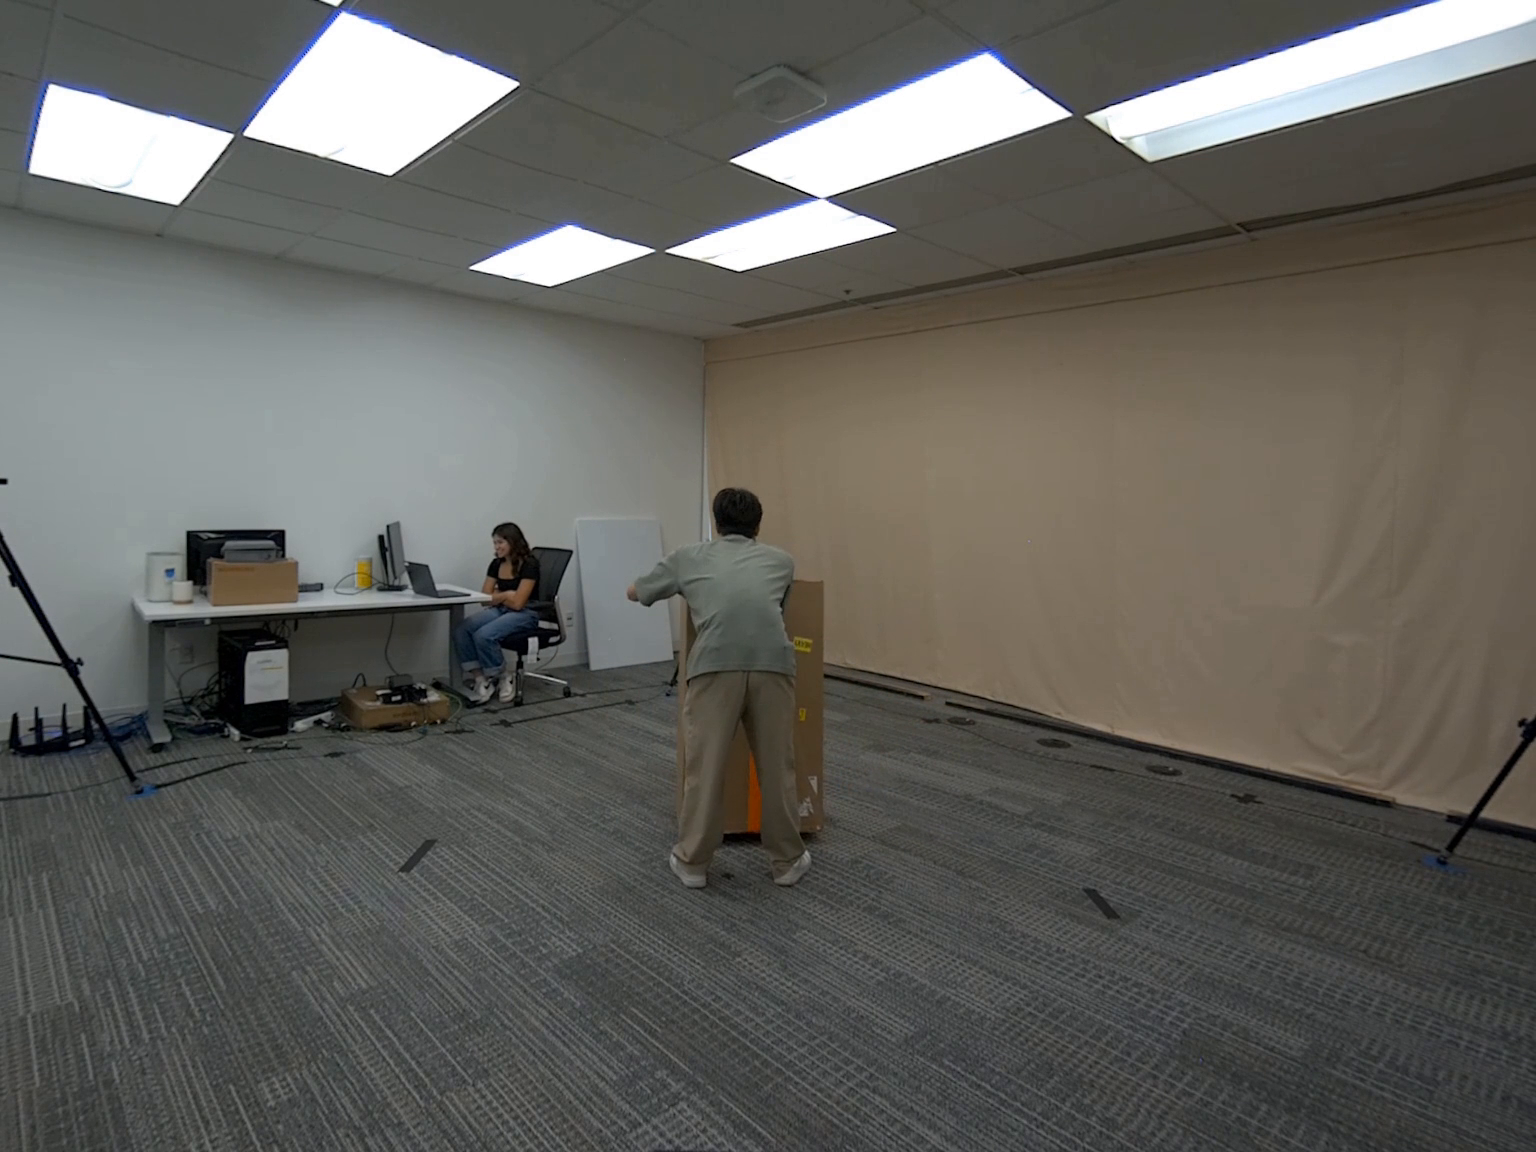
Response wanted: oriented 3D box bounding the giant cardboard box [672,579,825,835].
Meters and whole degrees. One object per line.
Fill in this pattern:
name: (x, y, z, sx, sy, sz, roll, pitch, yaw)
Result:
giant cardboard box: (-0.090, 0.538, 3.639, 0.573, 1.030, 0.428, 1, -5, -10)
